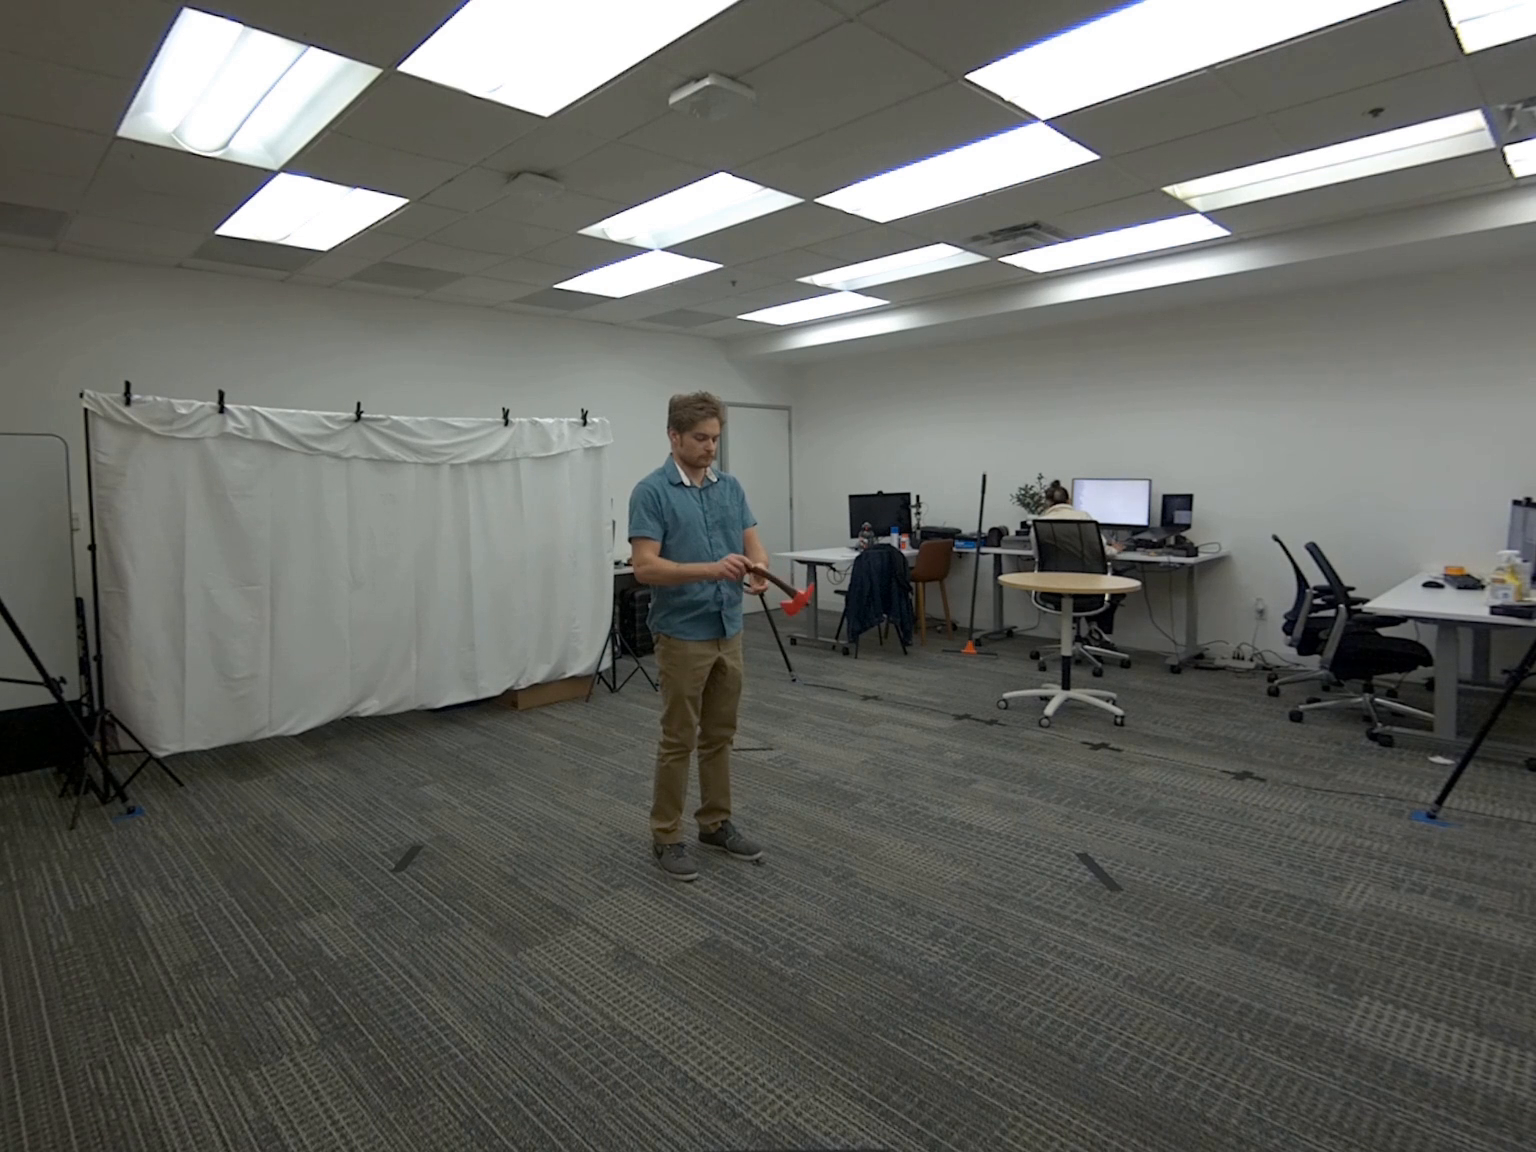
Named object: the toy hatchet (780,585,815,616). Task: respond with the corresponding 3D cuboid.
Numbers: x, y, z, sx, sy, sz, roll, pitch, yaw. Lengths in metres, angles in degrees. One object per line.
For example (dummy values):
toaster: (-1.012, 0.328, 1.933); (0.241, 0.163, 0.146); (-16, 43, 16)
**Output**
toy hatchet: (0.007, 0.038, 2.790); (0.272, 0.129, 0.030); (16, 25, 7)
